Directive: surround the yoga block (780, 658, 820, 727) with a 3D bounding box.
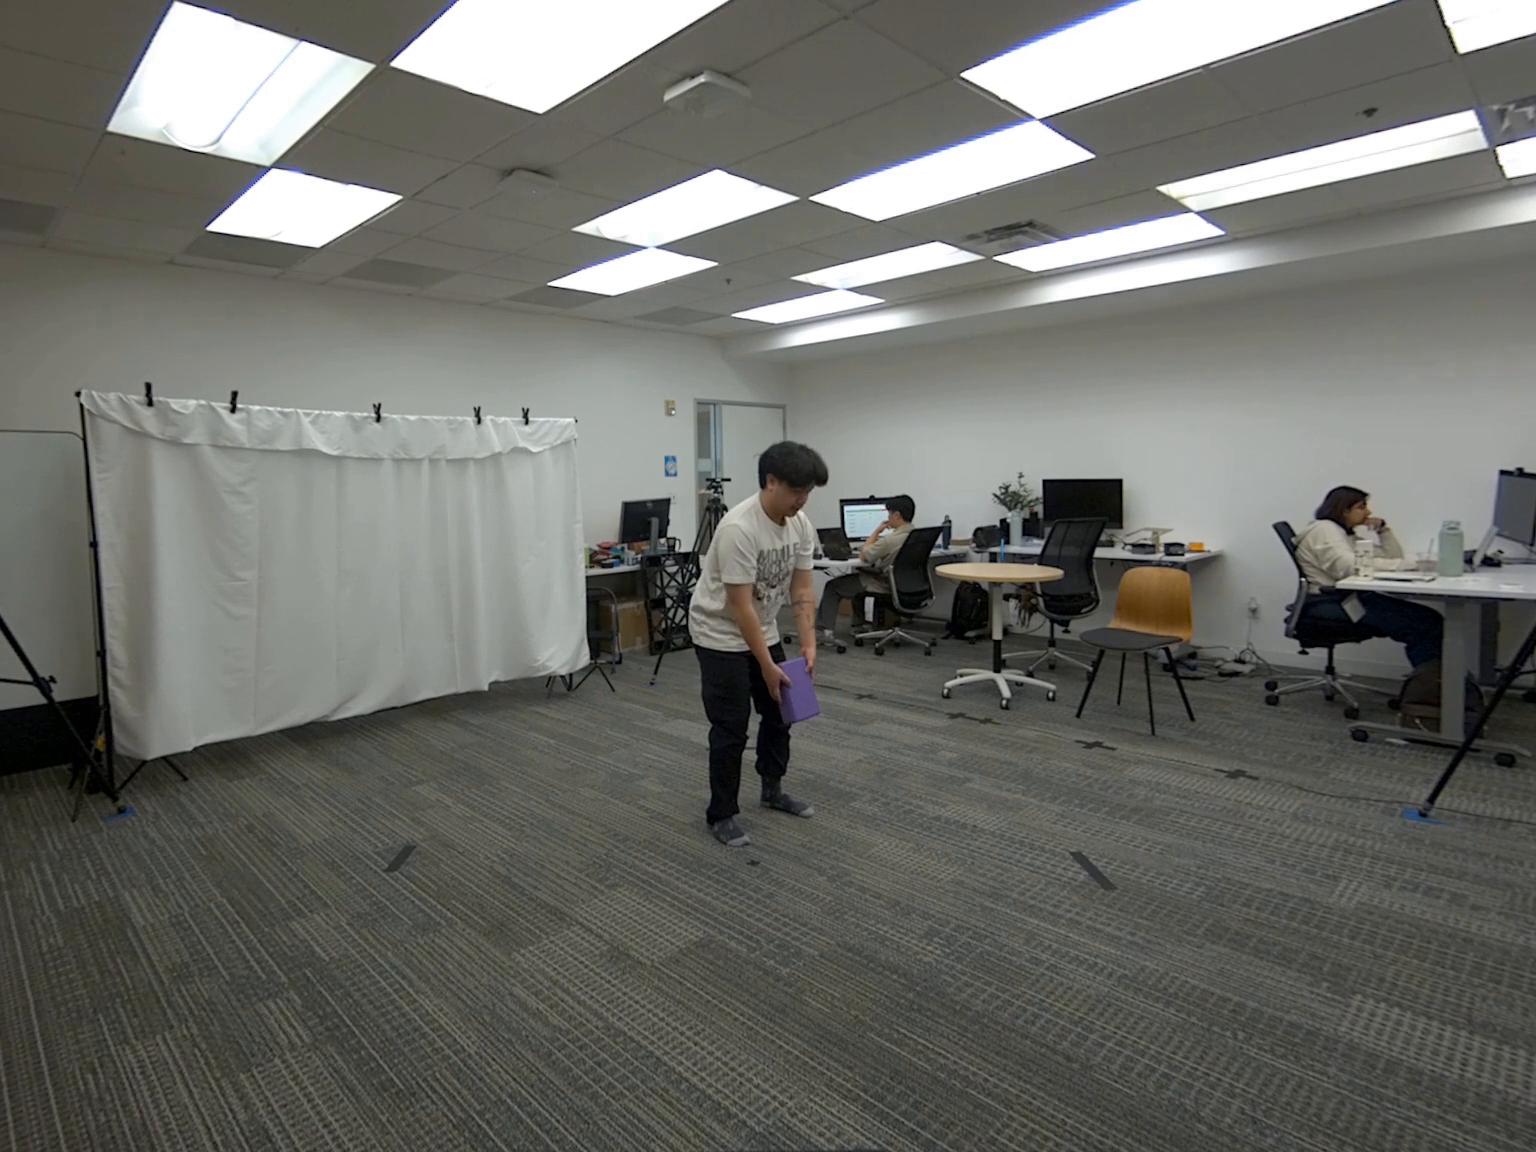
[{"bbox_3d":[0.106,0.445,3.314,0.078,0.231,0.145,-17,-7,43],"label":"yoga block"}]
